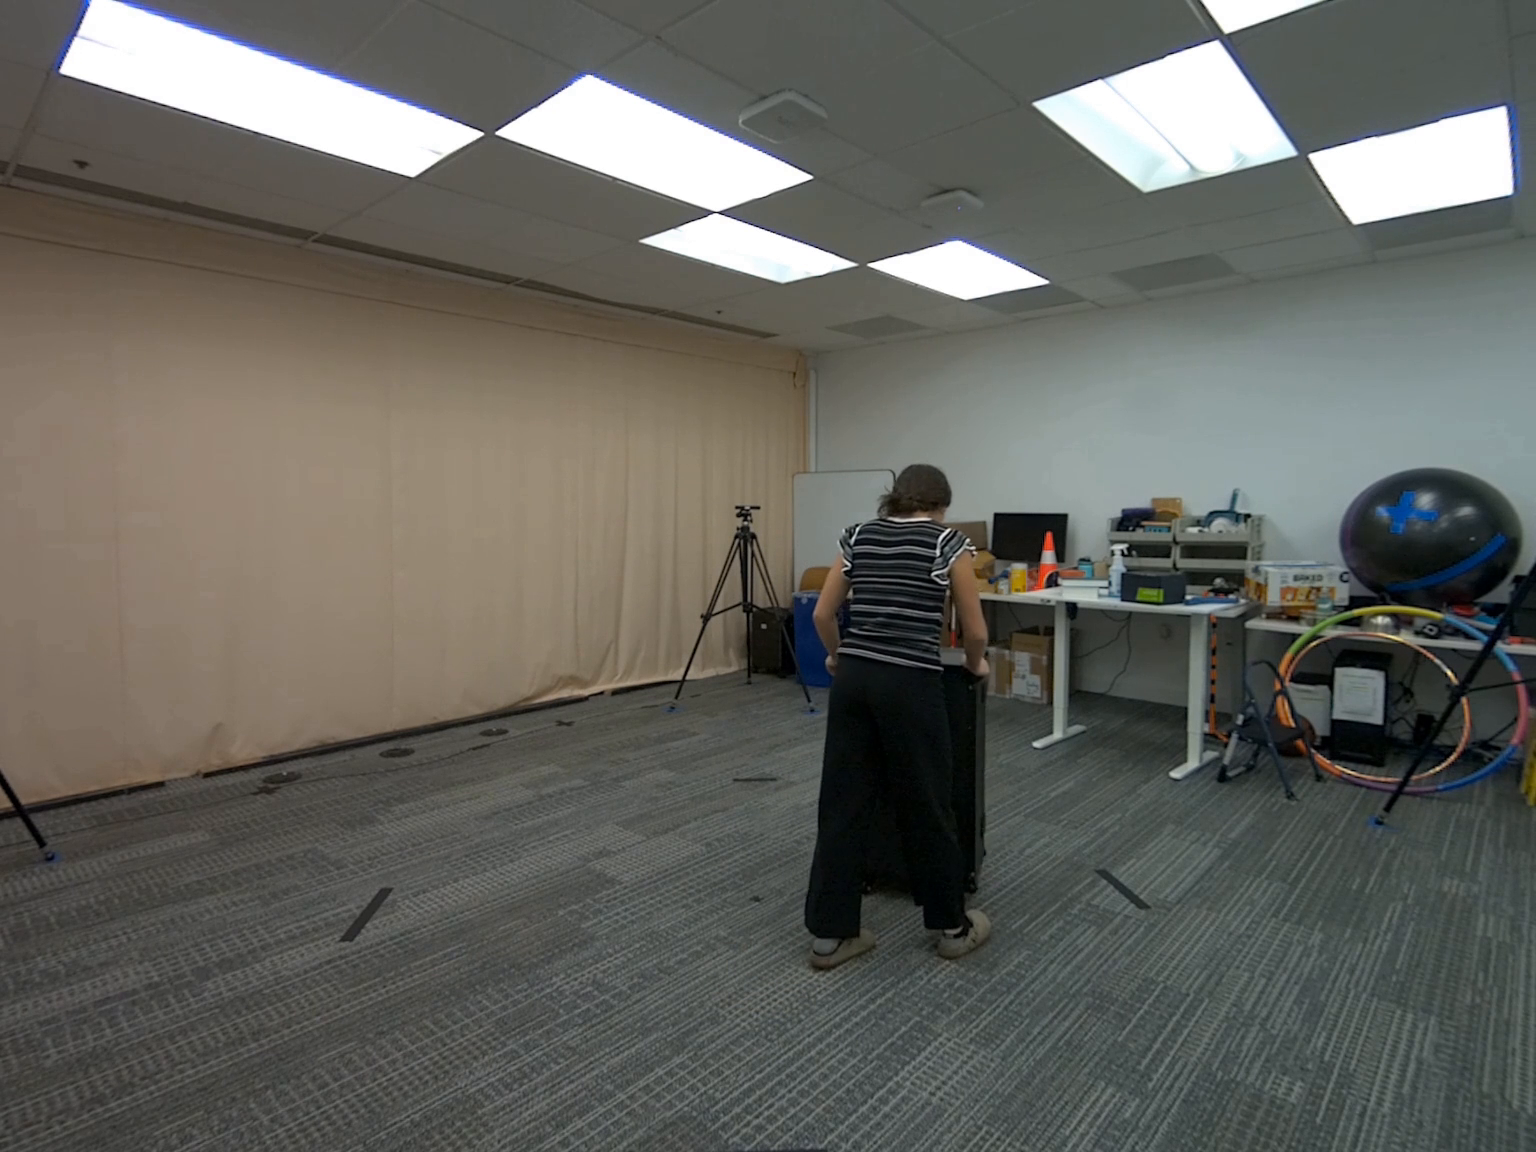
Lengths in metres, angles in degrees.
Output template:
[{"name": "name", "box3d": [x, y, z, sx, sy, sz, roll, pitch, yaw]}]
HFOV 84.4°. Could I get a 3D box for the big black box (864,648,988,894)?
[{"name": "big black box", "box3d": [0.541, 0.708, 3.086, 0.533, 0.859, 0.388, 1, 5, 21]}]
